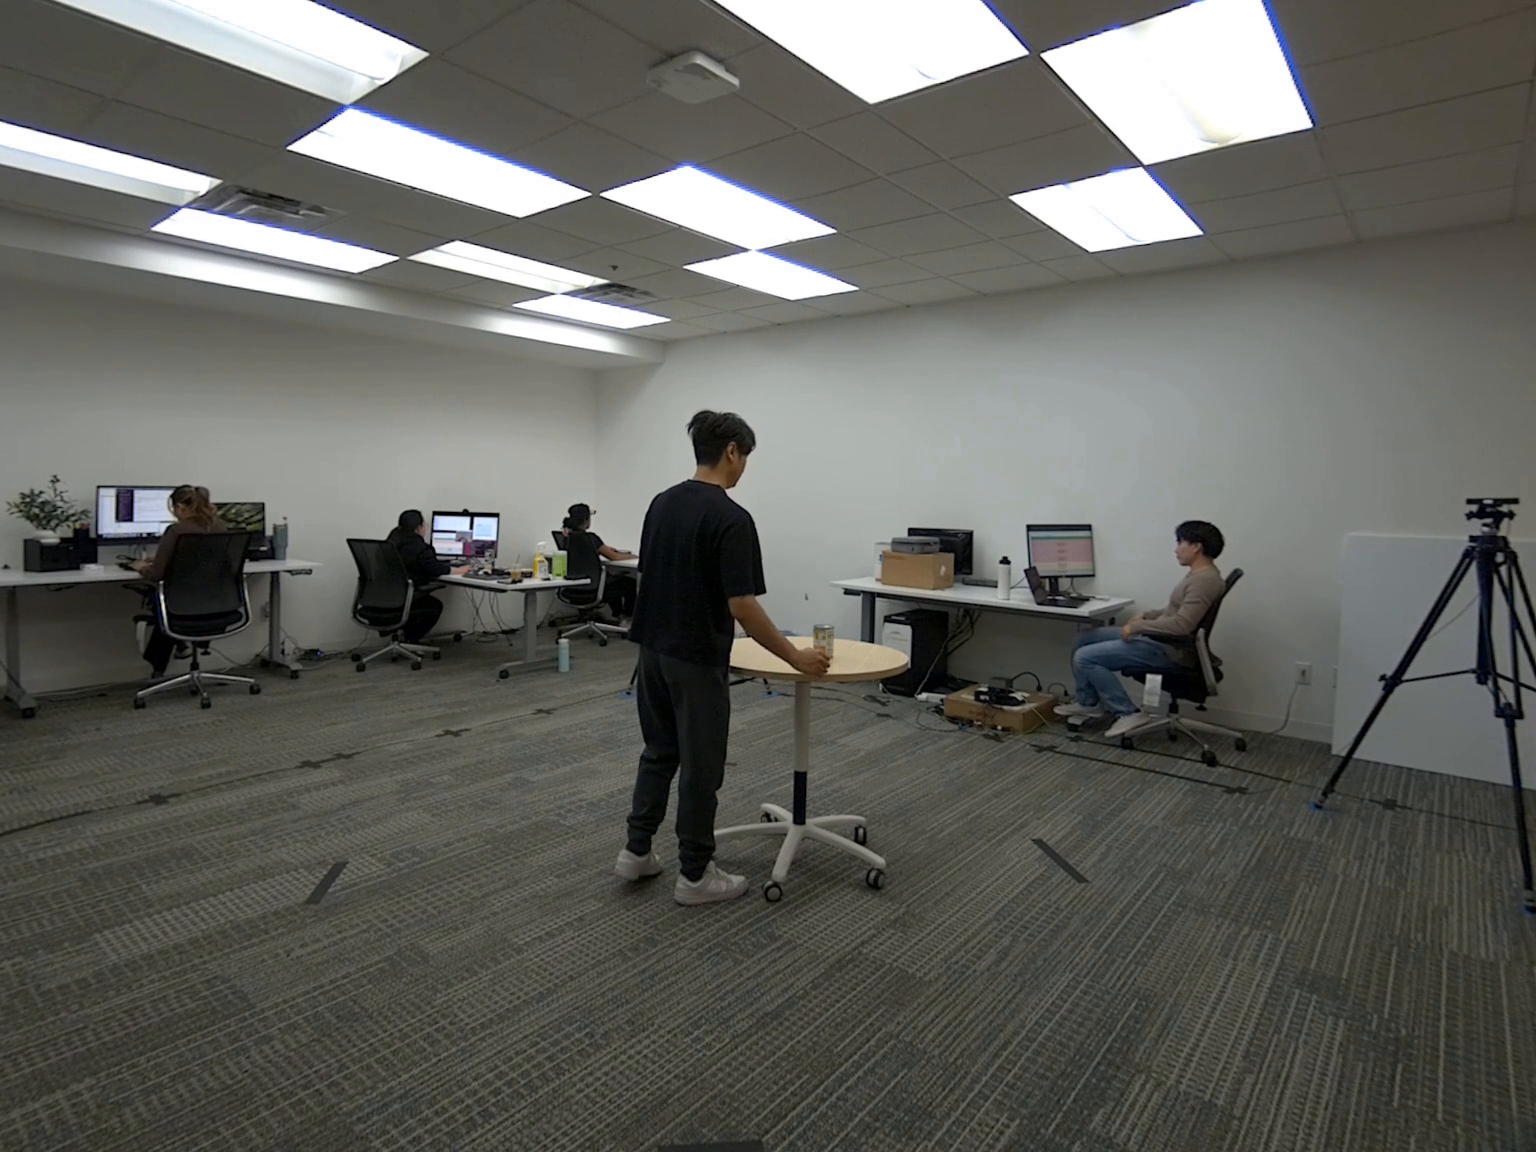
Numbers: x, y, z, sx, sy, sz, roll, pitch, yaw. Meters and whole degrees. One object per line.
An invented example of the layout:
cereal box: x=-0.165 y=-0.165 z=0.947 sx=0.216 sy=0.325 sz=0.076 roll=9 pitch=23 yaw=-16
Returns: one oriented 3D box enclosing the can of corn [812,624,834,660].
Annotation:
can of corn: x=0.195 y=0.238 z=3.087 sx=0.074 sy=0.110 sz=0.075 roll=3 pitch=5 yaw=-2
